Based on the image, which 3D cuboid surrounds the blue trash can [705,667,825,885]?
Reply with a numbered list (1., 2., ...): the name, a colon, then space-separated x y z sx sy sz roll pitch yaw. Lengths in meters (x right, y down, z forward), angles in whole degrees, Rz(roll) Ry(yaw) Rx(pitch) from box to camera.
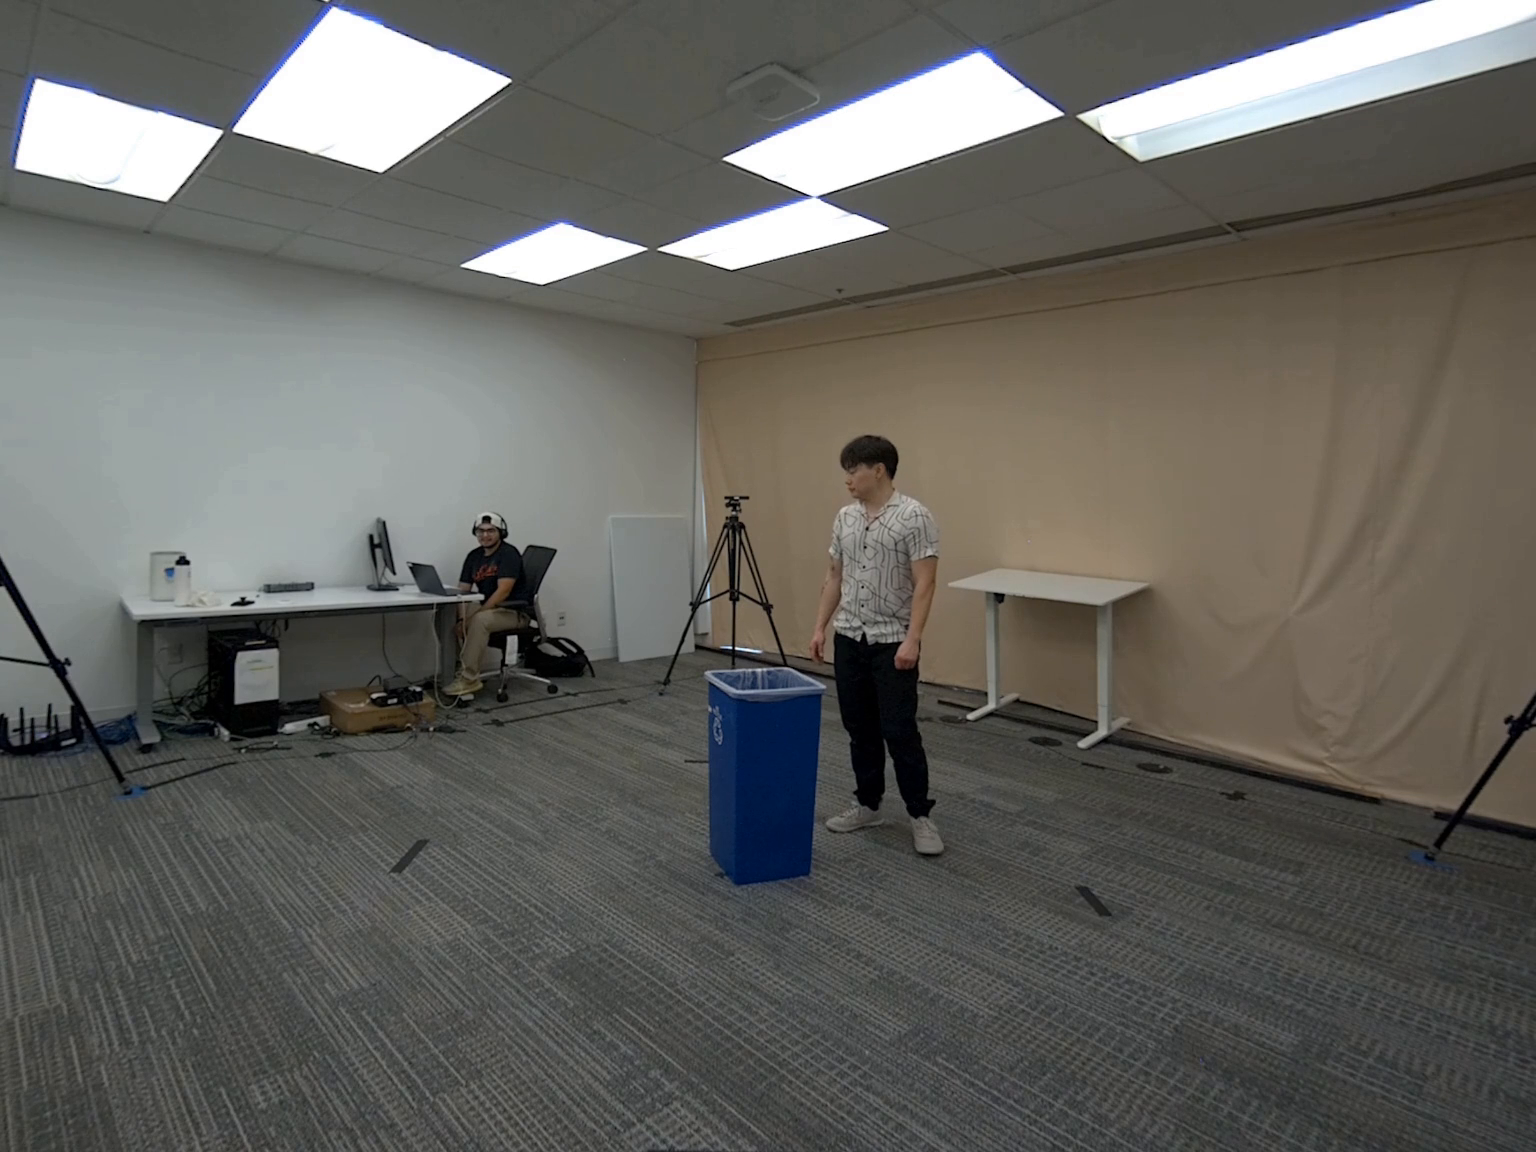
1. blue trash can: -0.034 0.741 3.180 0.368 0.712 0.385 0 4 -23
